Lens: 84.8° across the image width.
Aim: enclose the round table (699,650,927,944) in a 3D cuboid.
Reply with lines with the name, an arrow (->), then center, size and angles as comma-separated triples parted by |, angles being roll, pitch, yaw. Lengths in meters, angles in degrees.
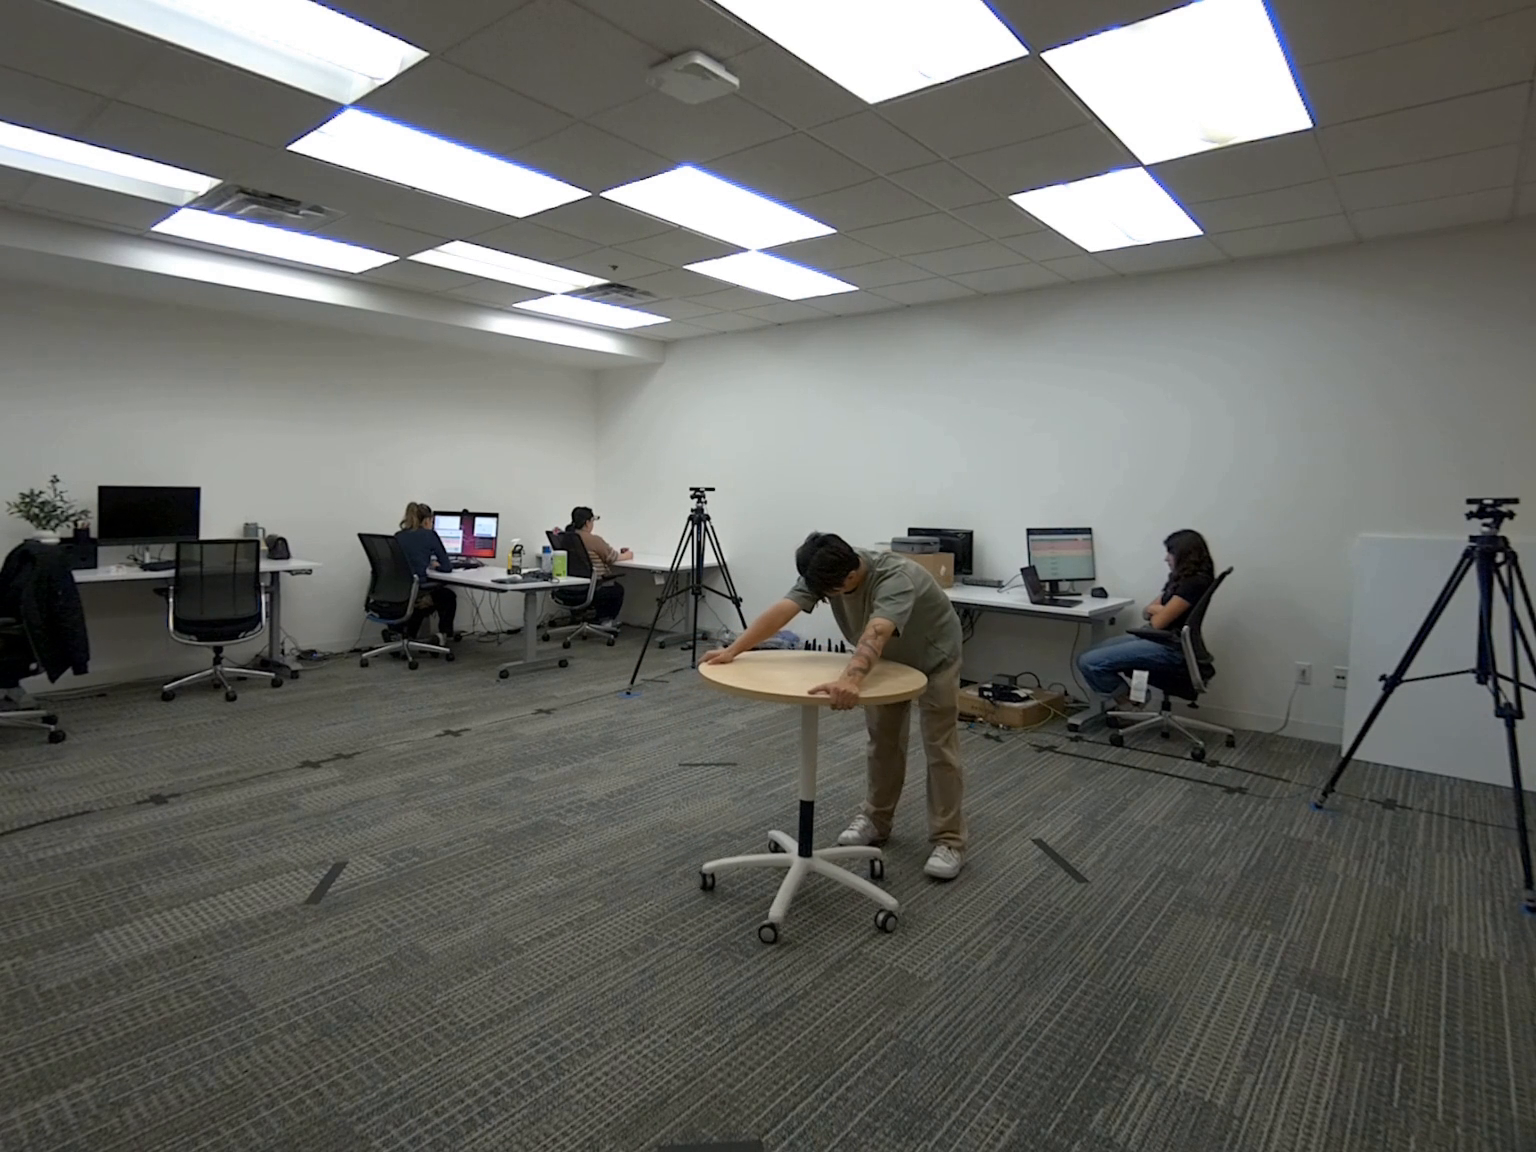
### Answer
round table -> 0.134, 0.707, 2.886 | 0.784, 0.784, 0.789 | 1, 4, -2
